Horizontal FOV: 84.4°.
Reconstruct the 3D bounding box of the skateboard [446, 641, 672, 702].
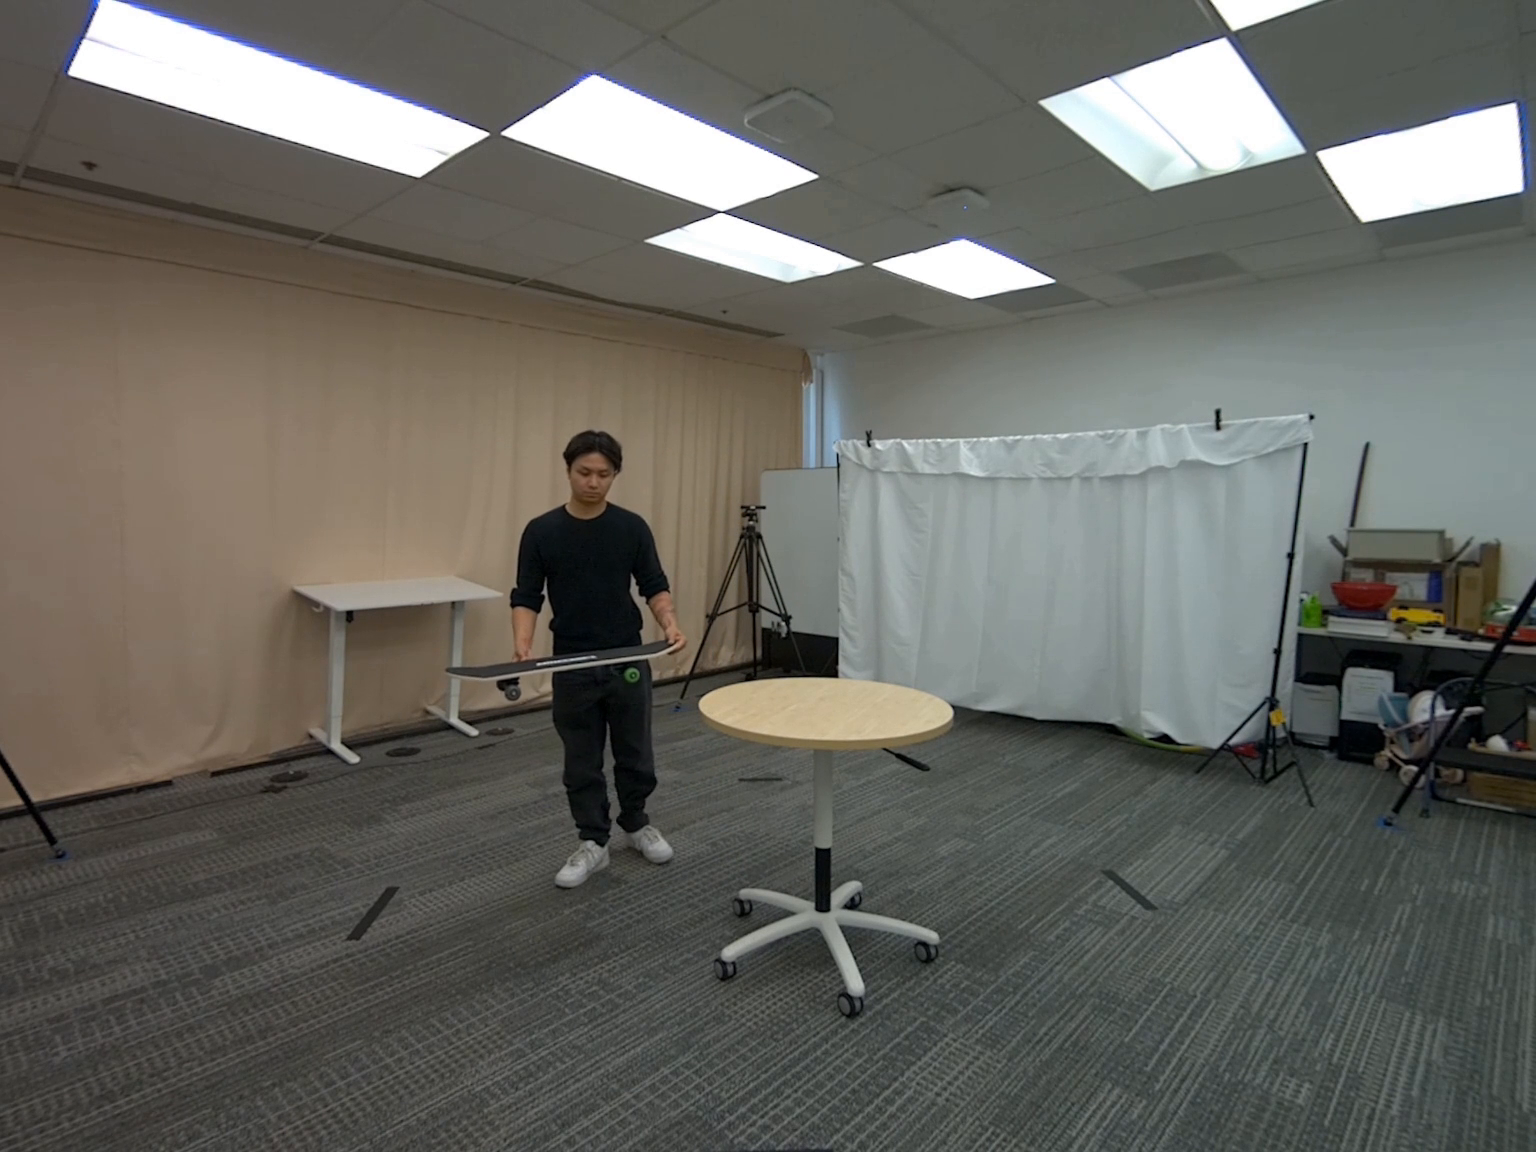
[{"bbox_3d":[-0.671,0.320,2.828,0.768,0.110,0.198,-6,7,-24],"label":"skateboard"}]
